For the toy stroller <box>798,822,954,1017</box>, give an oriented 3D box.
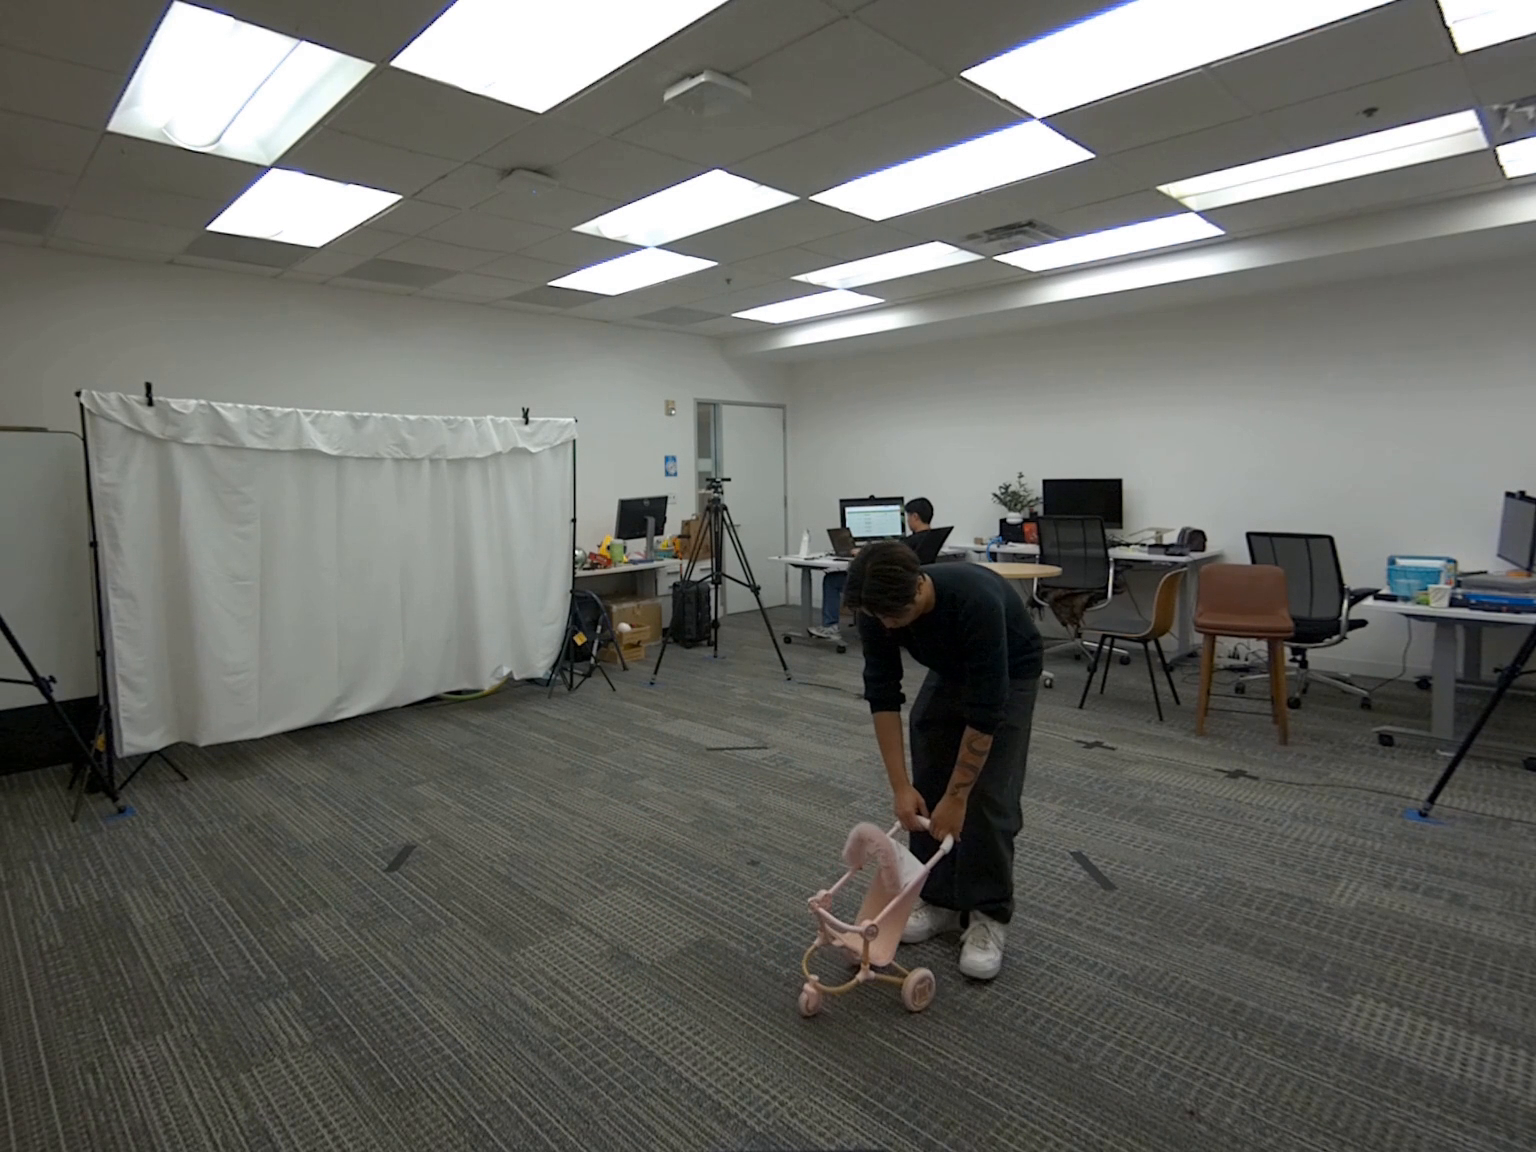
[{"bbox_3d":[0.276,0.906,2.302,0.332,0.536,0.288,16,-4,-26],"label":"toy stroller"}]
